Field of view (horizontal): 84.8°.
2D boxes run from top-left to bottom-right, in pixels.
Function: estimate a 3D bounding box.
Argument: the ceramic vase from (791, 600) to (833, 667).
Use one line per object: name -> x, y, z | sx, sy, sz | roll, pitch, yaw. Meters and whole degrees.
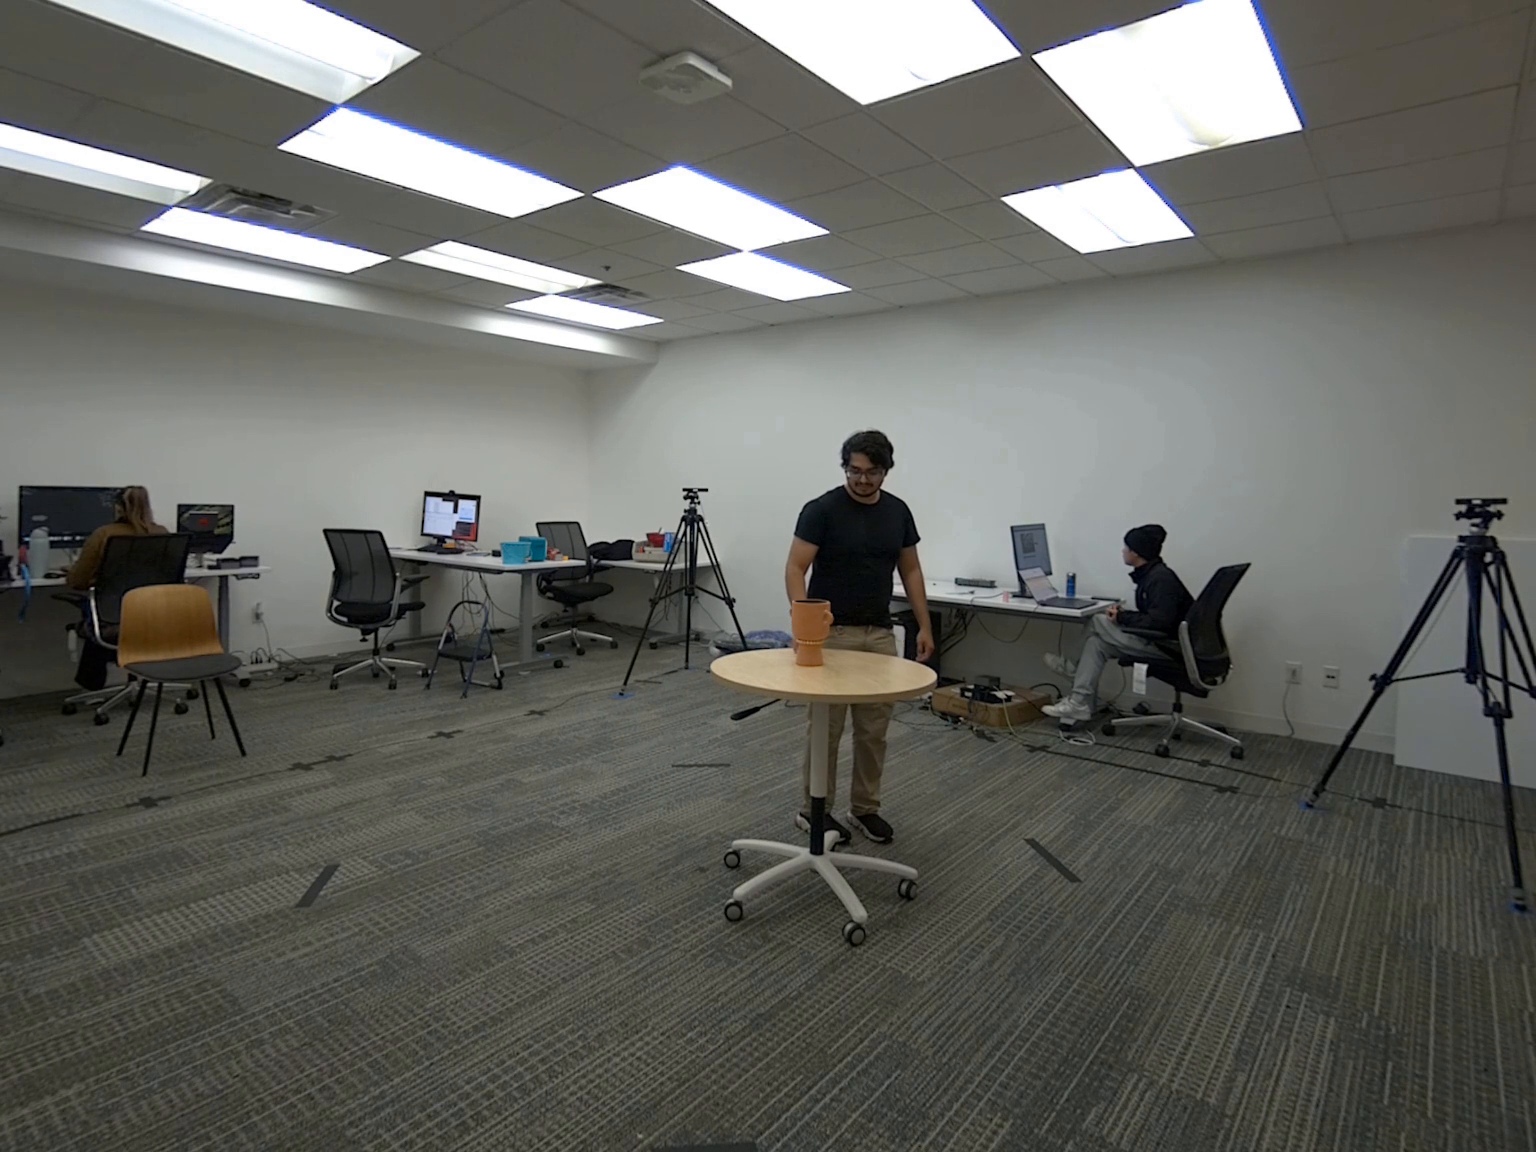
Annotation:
ceramic vase -> 0.141, 0.201, 2.985 | 0.134, 0.219, 0.160 | 2, 4, -3
